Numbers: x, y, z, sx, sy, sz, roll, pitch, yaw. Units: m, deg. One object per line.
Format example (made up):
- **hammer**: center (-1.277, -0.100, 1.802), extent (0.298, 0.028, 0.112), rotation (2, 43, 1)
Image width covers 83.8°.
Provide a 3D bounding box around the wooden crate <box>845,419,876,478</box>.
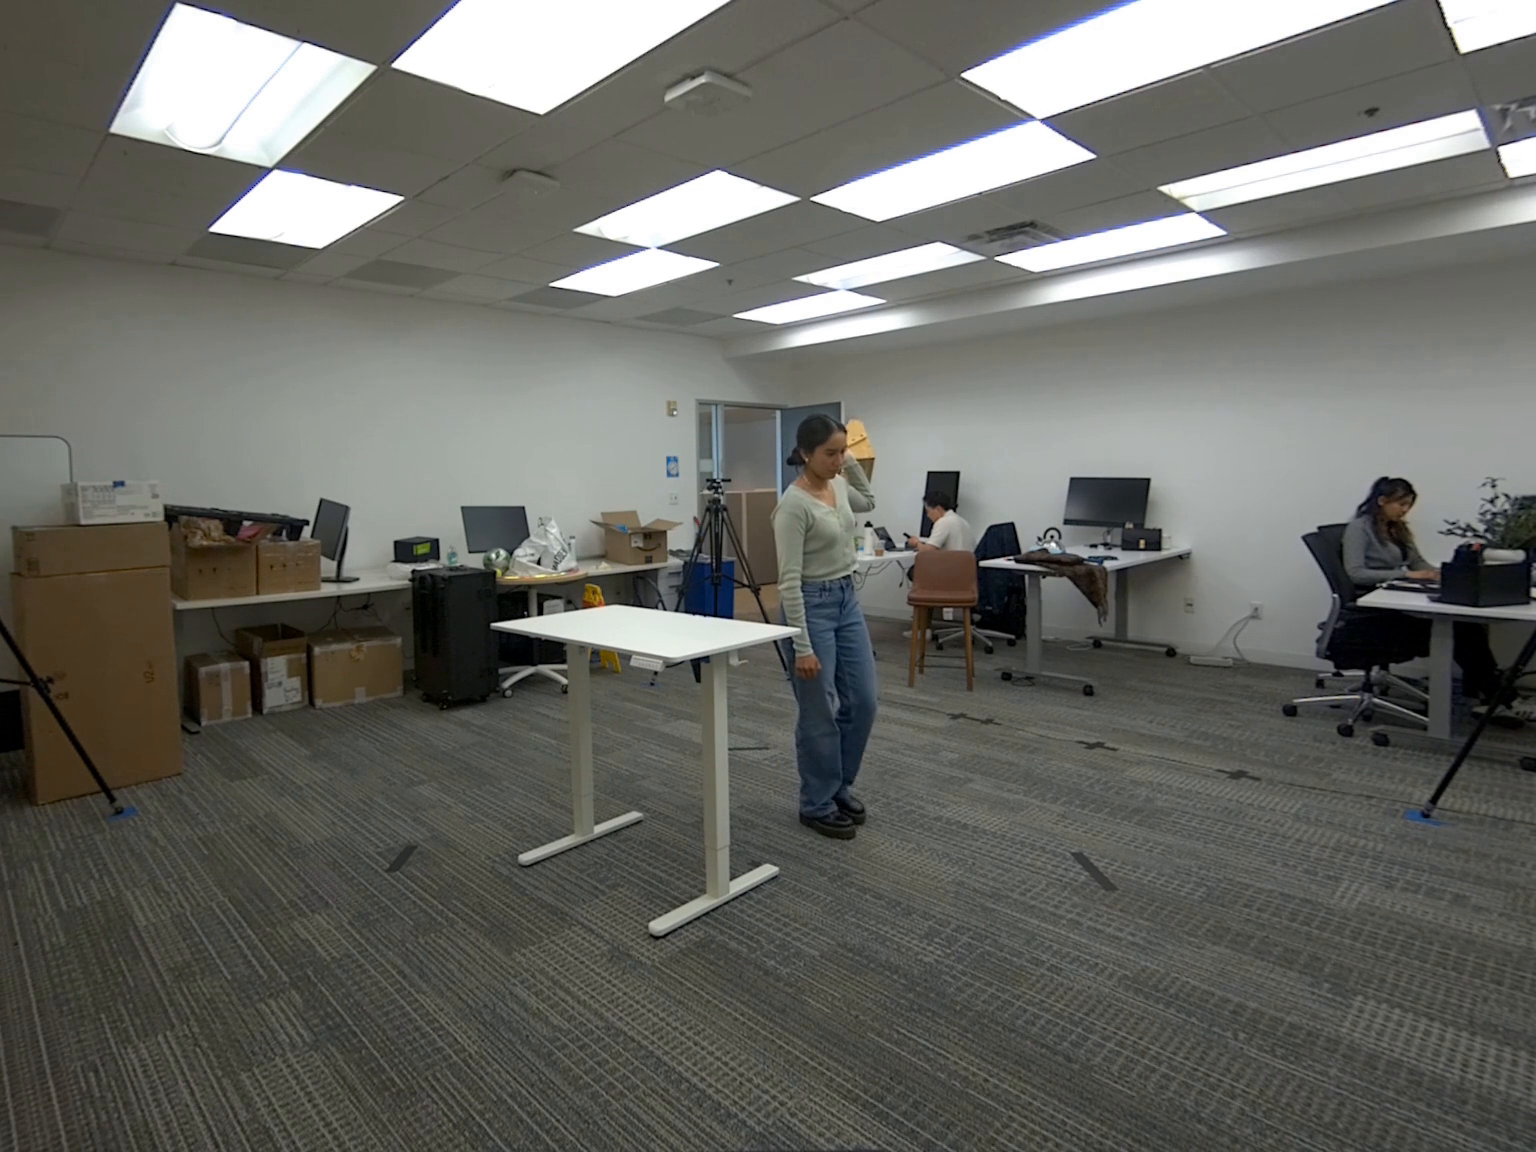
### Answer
- **wooden crate**: center (0.291, -0.452, 3.658), extent (0.272, 0.315, 0.312), rotation (-7, 48, -6)
